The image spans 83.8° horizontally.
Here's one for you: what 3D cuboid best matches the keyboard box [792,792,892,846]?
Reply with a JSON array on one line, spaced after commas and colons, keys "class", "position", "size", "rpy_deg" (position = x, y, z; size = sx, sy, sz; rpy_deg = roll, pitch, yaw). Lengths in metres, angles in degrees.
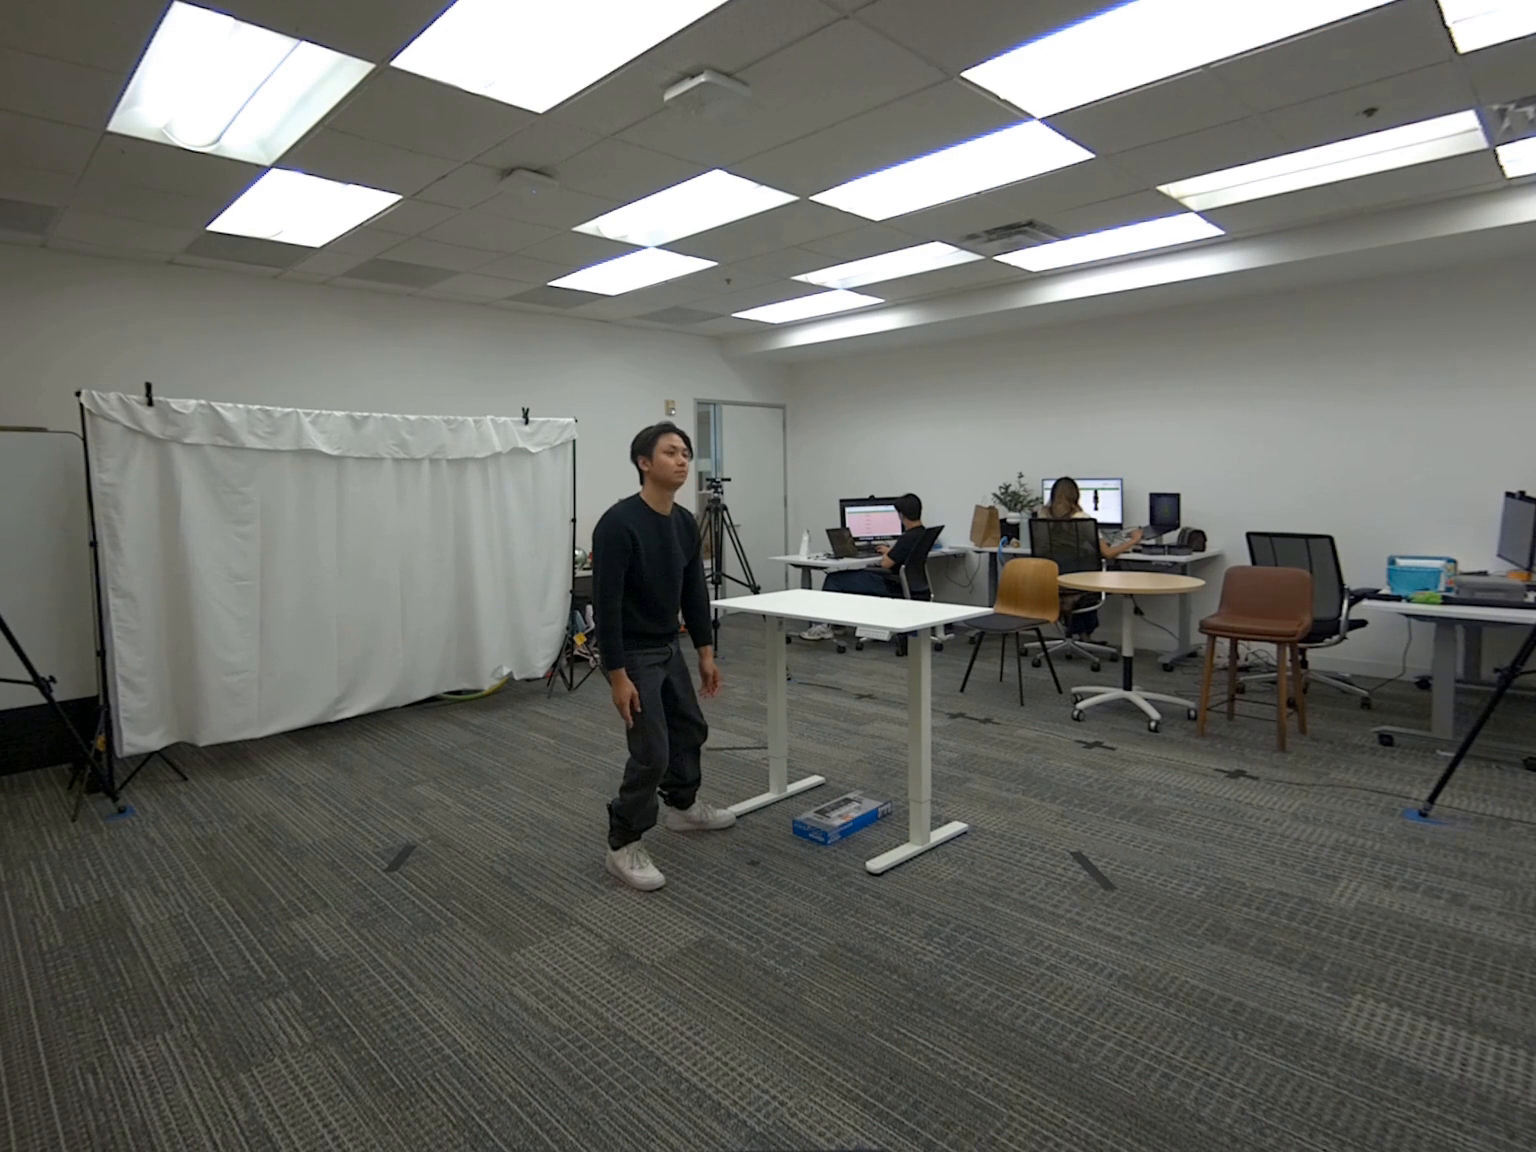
[{"class": "keyboard box", "position": [0.307, 0.967, 3.445], "size": [0.181, 0.059, 0.426], "rpy_deg": [5, 9, 44]}]
